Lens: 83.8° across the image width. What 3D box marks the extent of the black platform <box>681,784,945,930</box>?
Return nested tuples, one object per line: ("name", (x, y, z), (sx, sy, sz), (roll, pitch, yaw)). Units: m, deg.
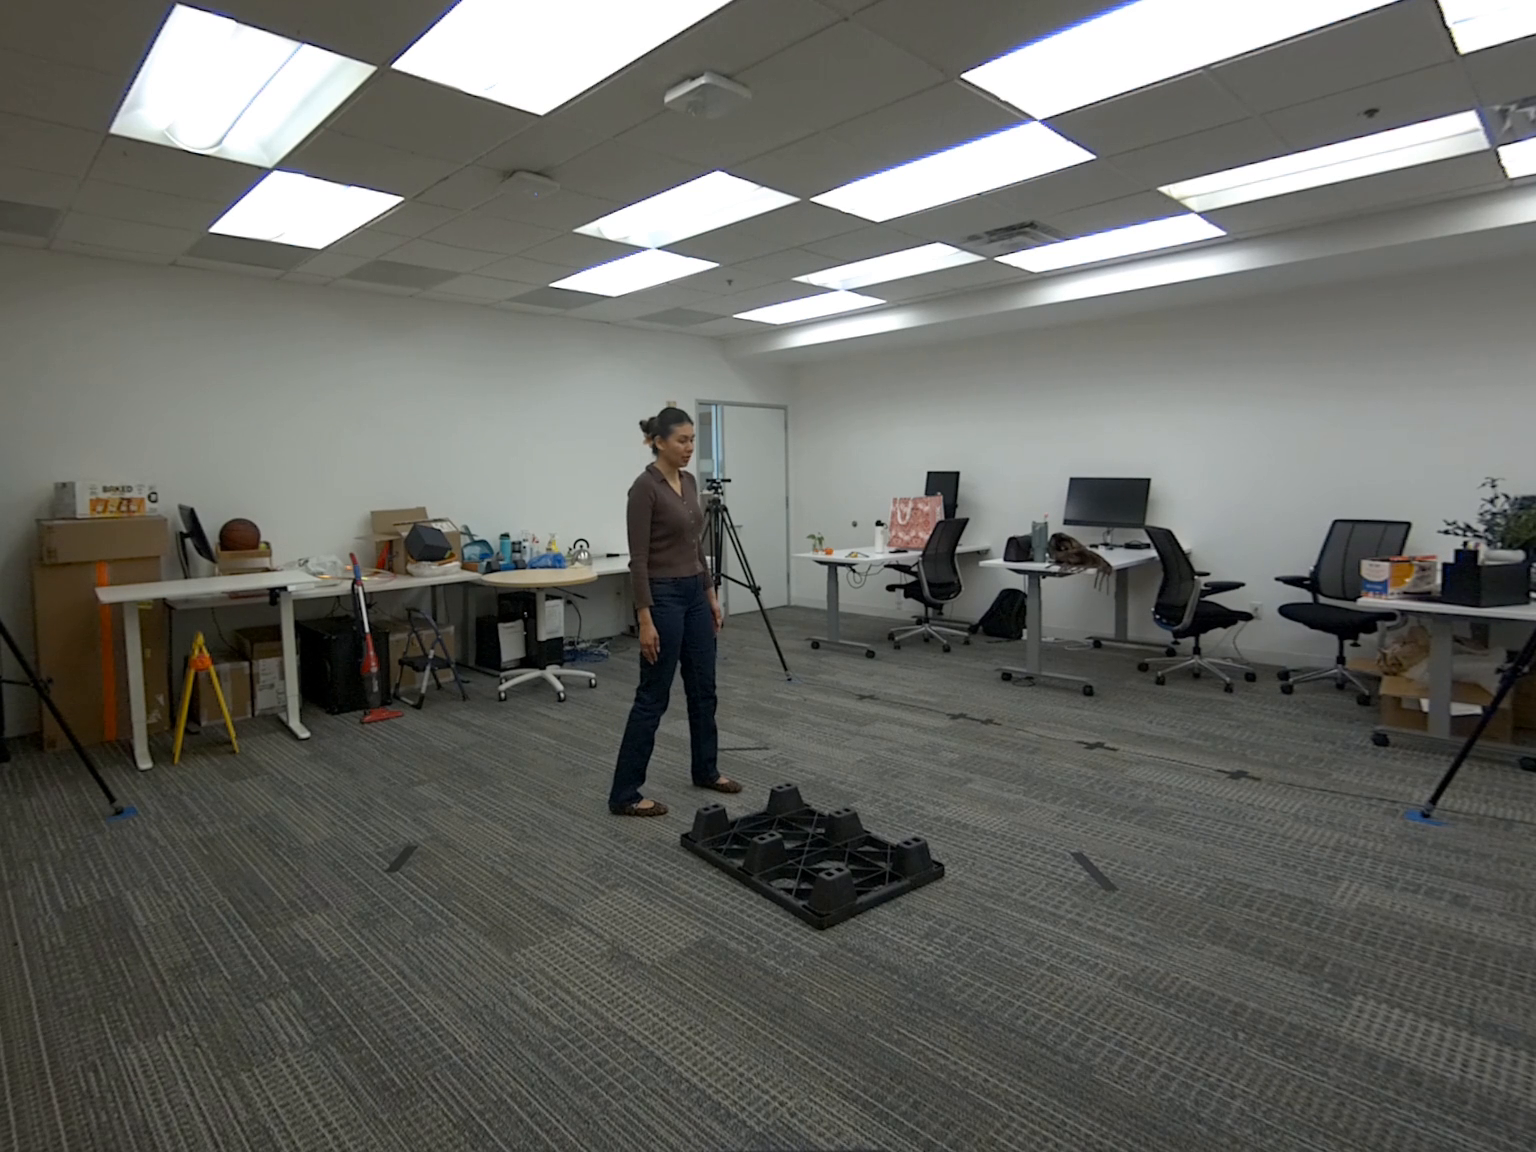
("black platform", (0.136, 0.971, 3.121), (0.589, 0.143, 0.830), (-5, 7, -38))
